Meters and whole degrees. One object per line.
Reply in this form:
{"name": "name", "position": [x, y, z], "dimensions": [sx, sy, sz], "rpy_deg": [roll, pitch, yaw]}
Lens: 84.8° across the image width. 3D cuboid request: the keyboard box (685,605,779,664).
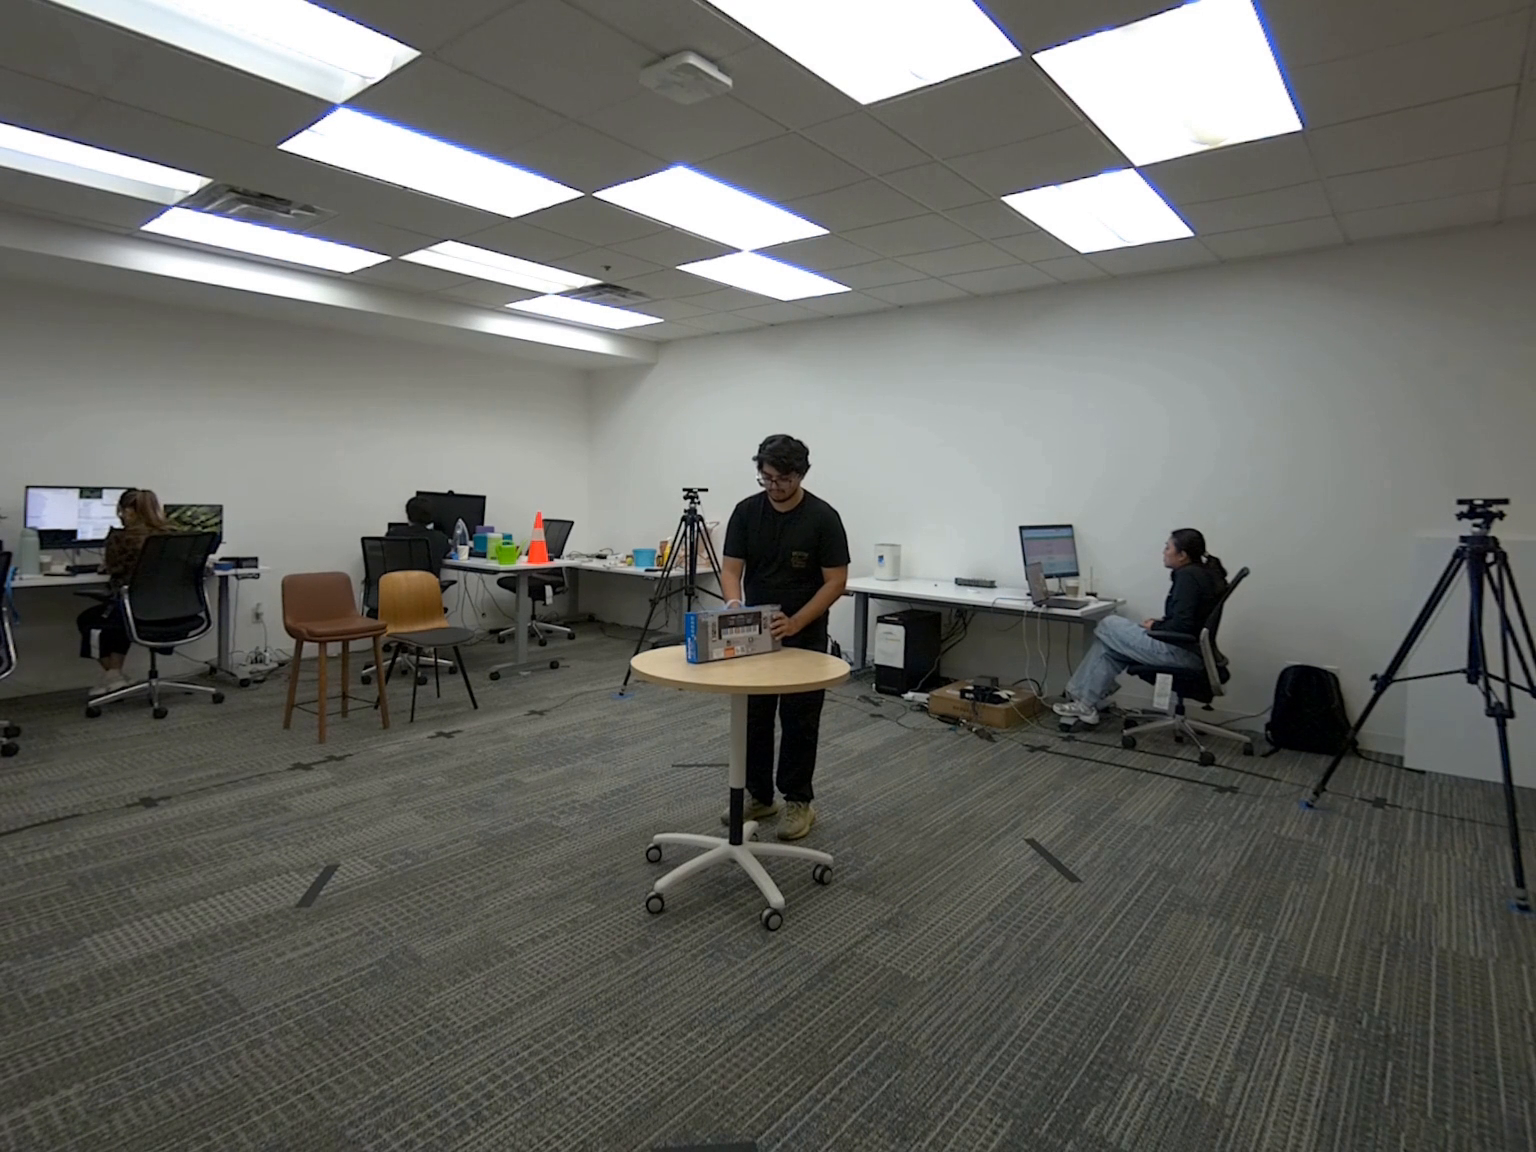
{"name": "keyboard box", "position": [-0.127, 0.203, 3.092], "dimensions": [0.423, 0.176, 0.061], "rpy_deg": [-3, 3, -44]}
